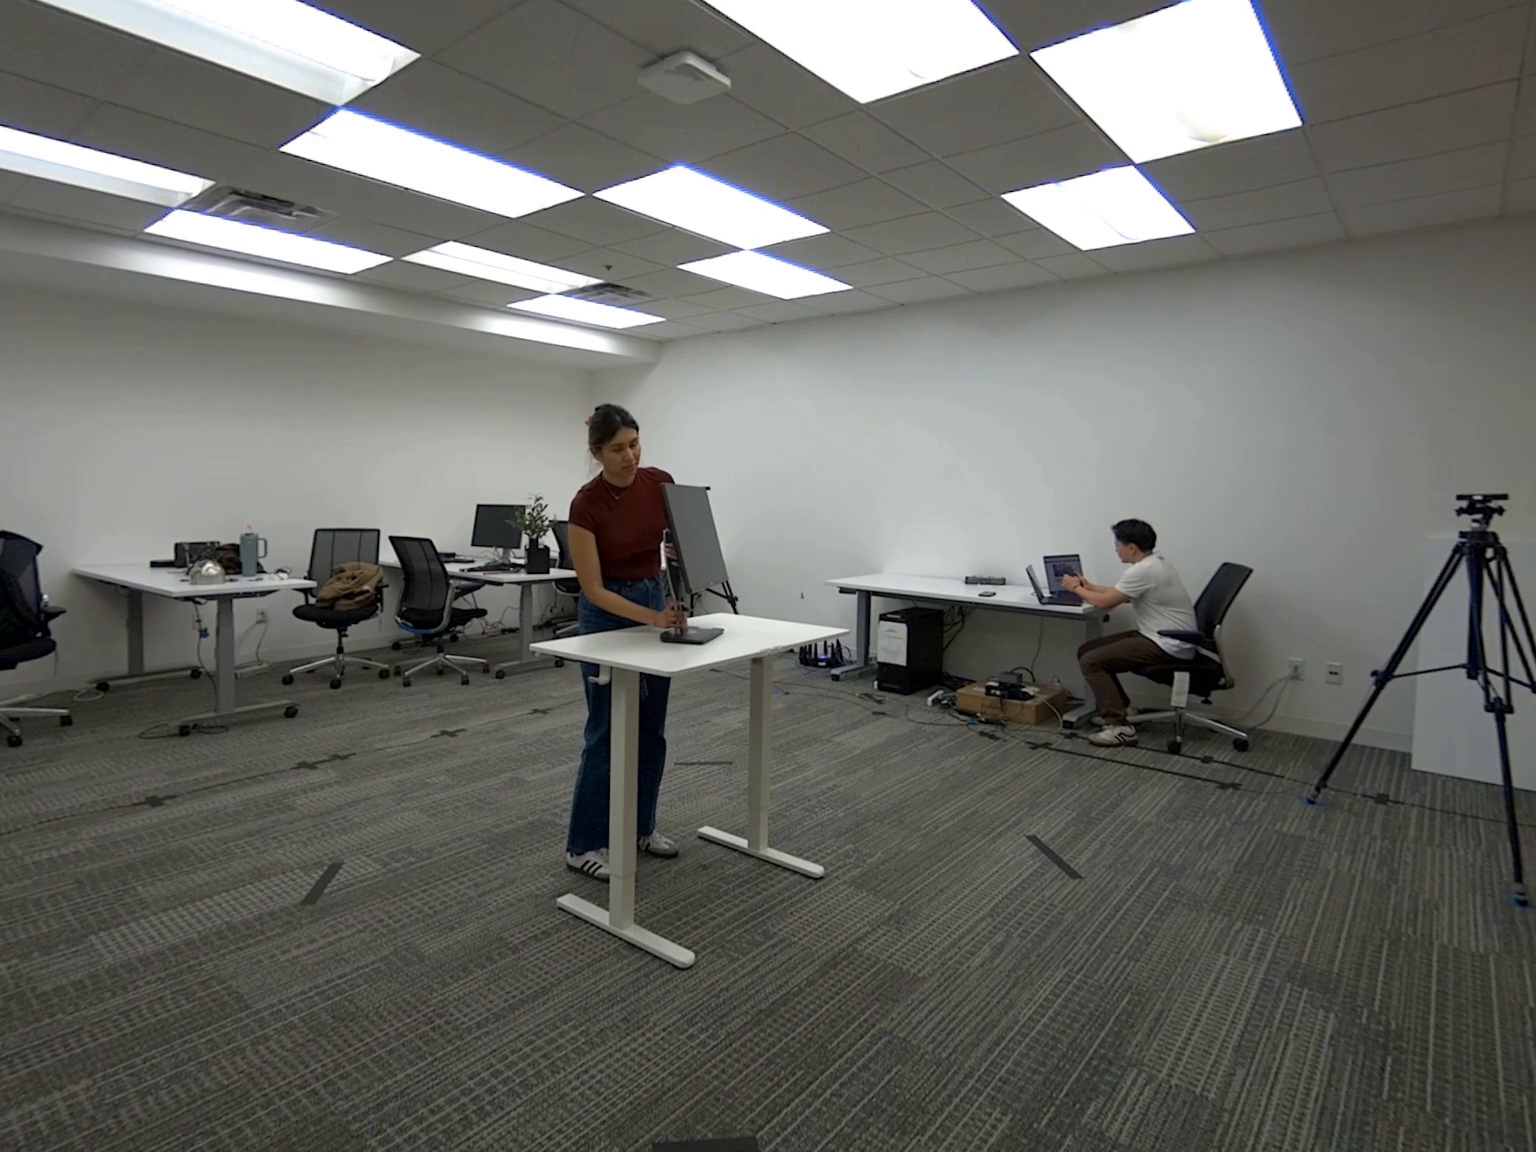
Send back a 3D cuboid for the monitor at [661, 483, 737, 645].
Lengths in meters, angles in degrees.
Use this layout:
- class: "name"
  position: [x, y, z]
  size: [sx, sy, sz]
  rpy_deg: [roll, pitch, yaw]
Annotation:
- class: "monitor"
  position: [-0.278, -0.049, 2.891]
  size: [0.189, 0.522, 0.535]
  rpy_deg: [1, 3, 8]
